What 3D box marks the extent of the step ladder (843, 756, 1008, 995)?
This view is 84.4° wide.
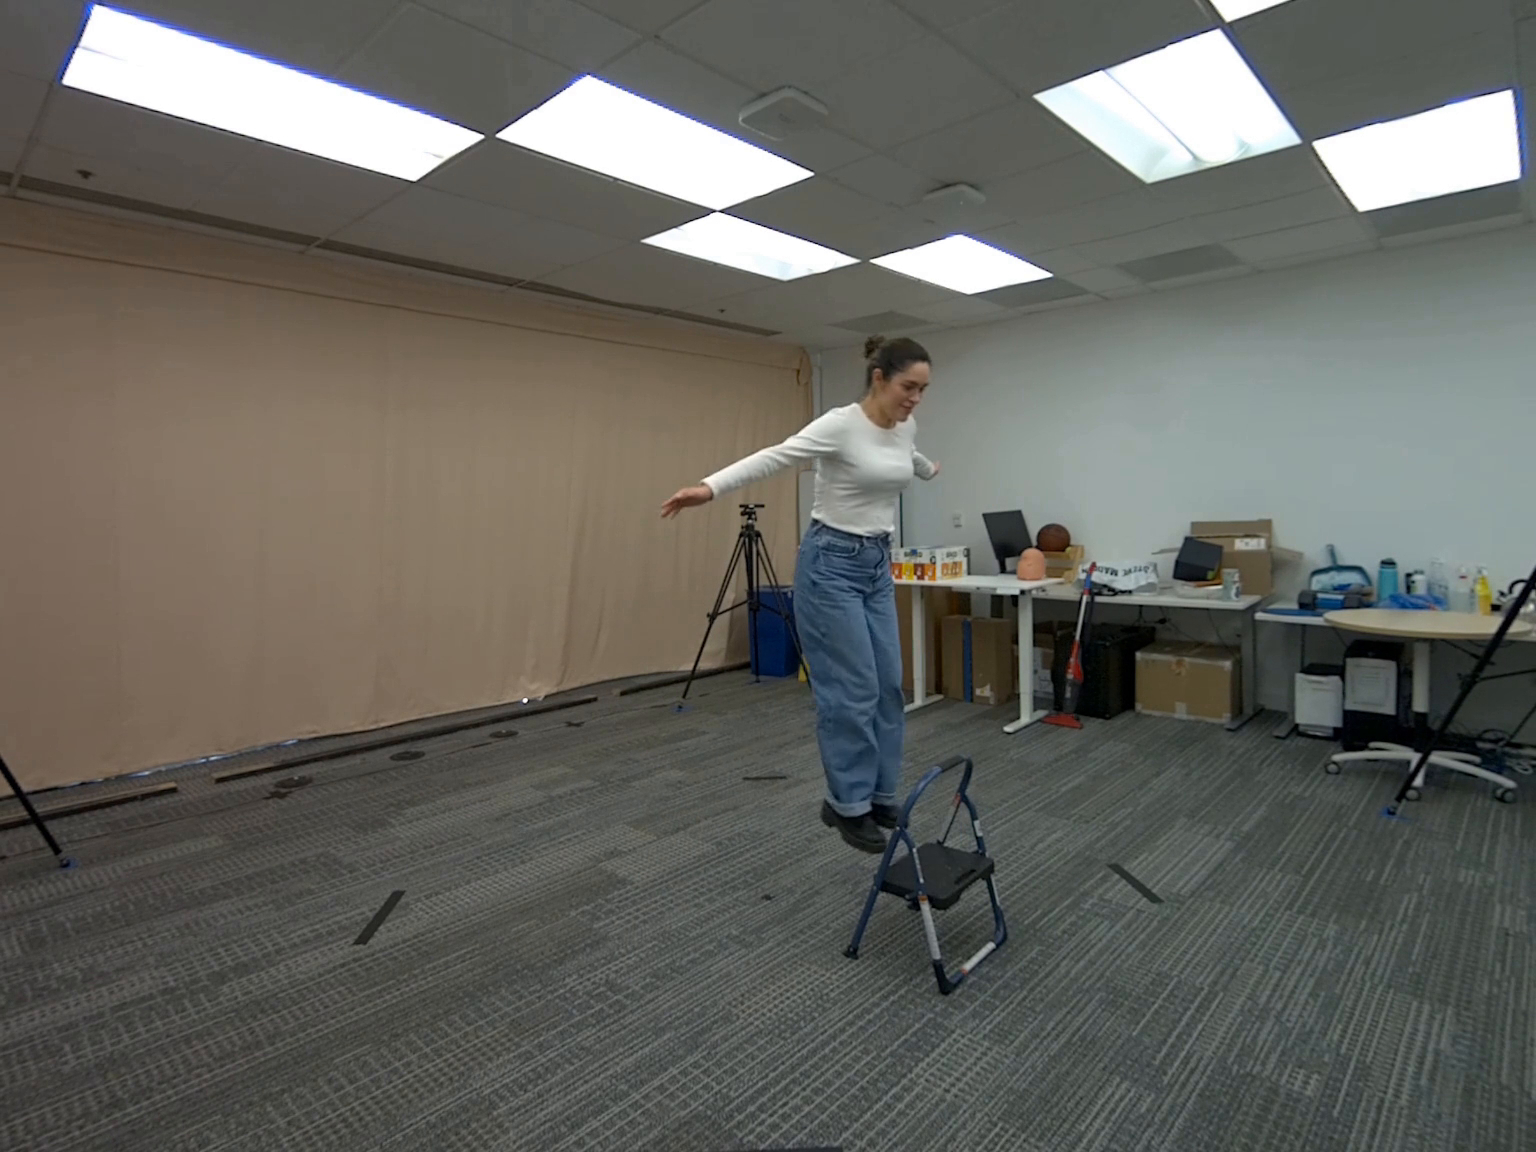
[{"bbox_3d":[0.502,0.862,2.614,0.361,0.604,0.418,3,6,40],"label":"step ladder"}]
